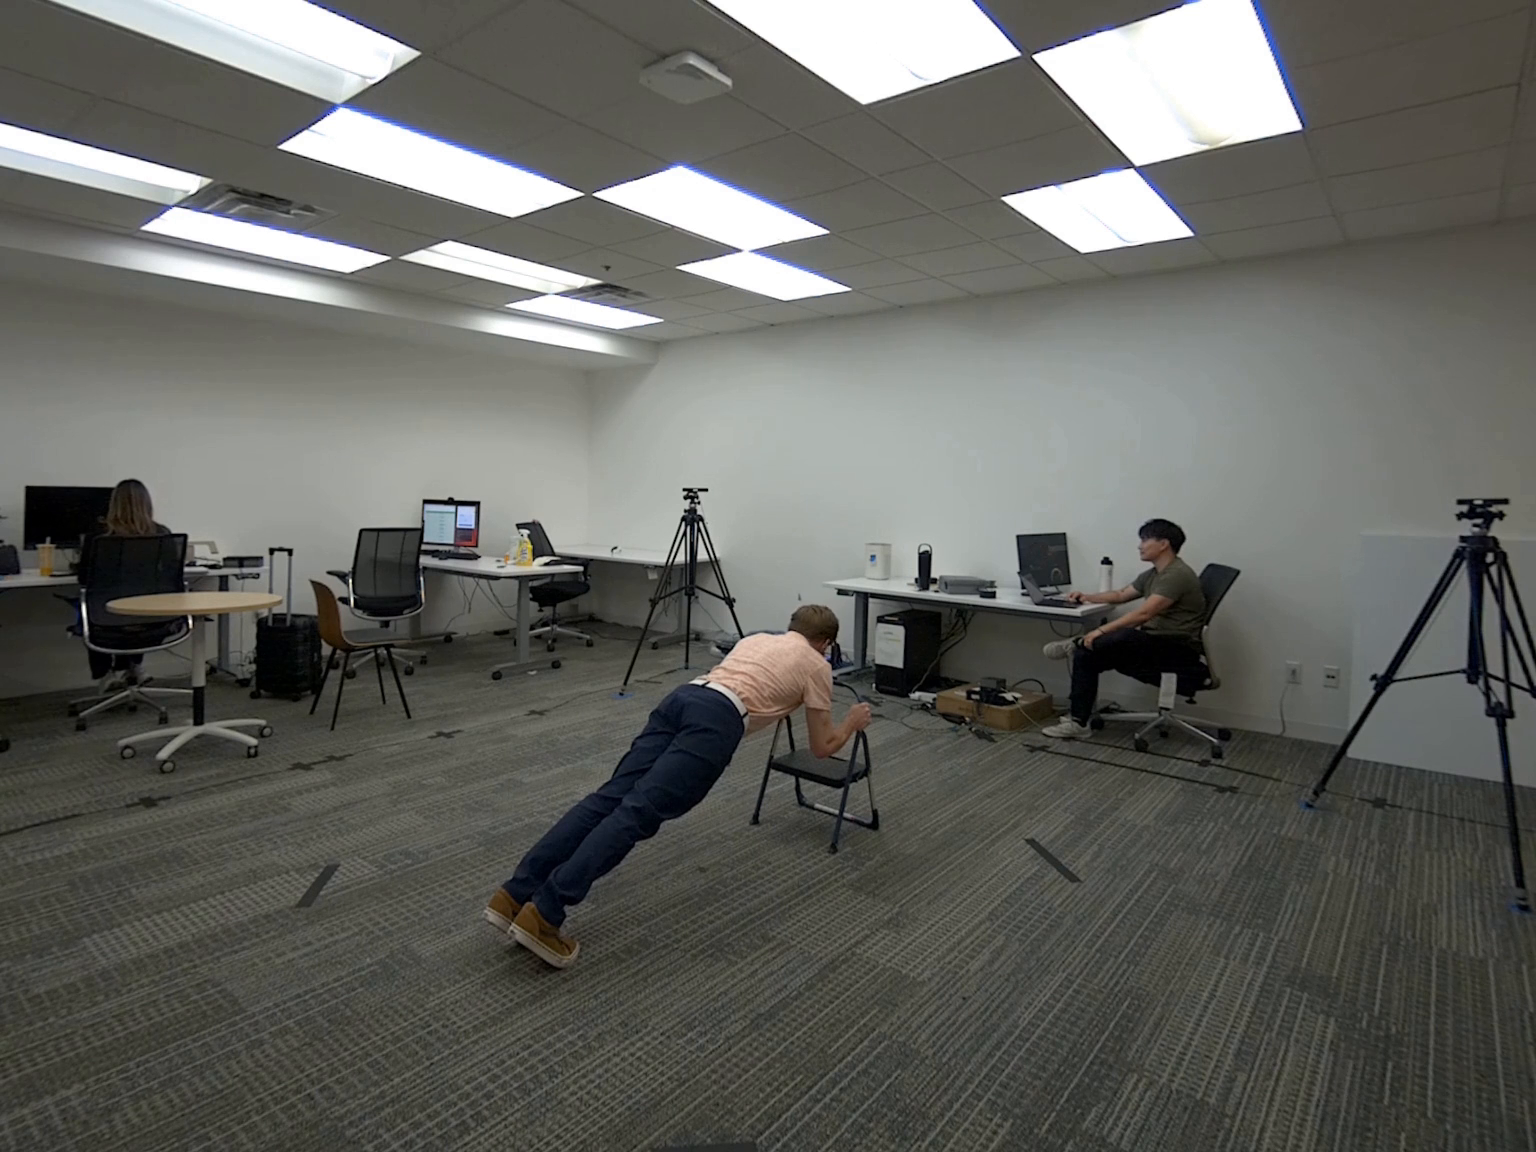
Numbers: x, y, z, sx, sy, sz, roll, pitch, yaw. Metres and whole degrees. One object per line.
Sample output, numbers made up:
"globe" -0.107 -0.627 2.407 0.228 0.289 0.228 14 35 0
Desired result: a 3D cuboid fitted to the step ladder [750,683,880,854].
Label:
"step ladder" 0.195 0.737 3.523 0.445 0.604 0.339 4 4 40
